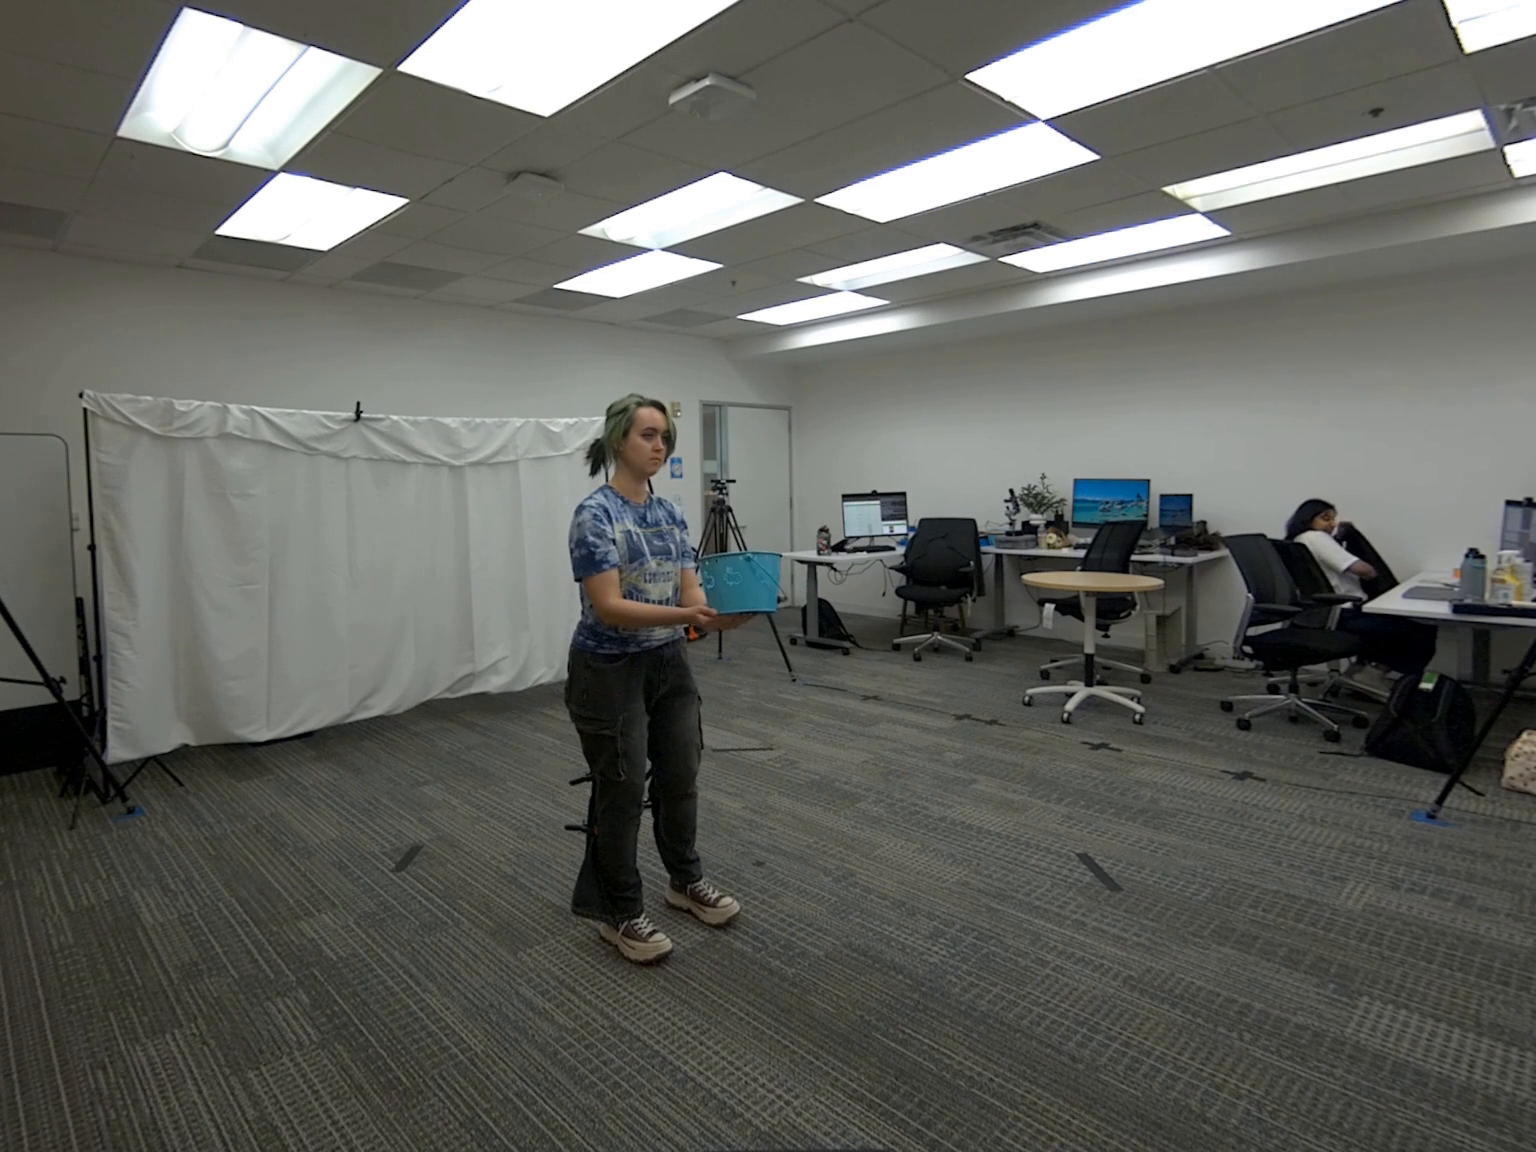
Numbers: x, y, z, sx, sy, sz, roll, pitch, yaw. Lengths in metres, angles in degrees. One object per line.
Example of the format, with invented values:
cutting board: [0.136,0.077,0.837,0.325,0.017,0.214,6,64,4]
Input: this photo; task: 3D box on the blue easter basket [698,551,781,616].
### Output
blue easter basket: [-0.081,0.027,2.303,0.243,0.157,0.242,-4,-6,-2]
